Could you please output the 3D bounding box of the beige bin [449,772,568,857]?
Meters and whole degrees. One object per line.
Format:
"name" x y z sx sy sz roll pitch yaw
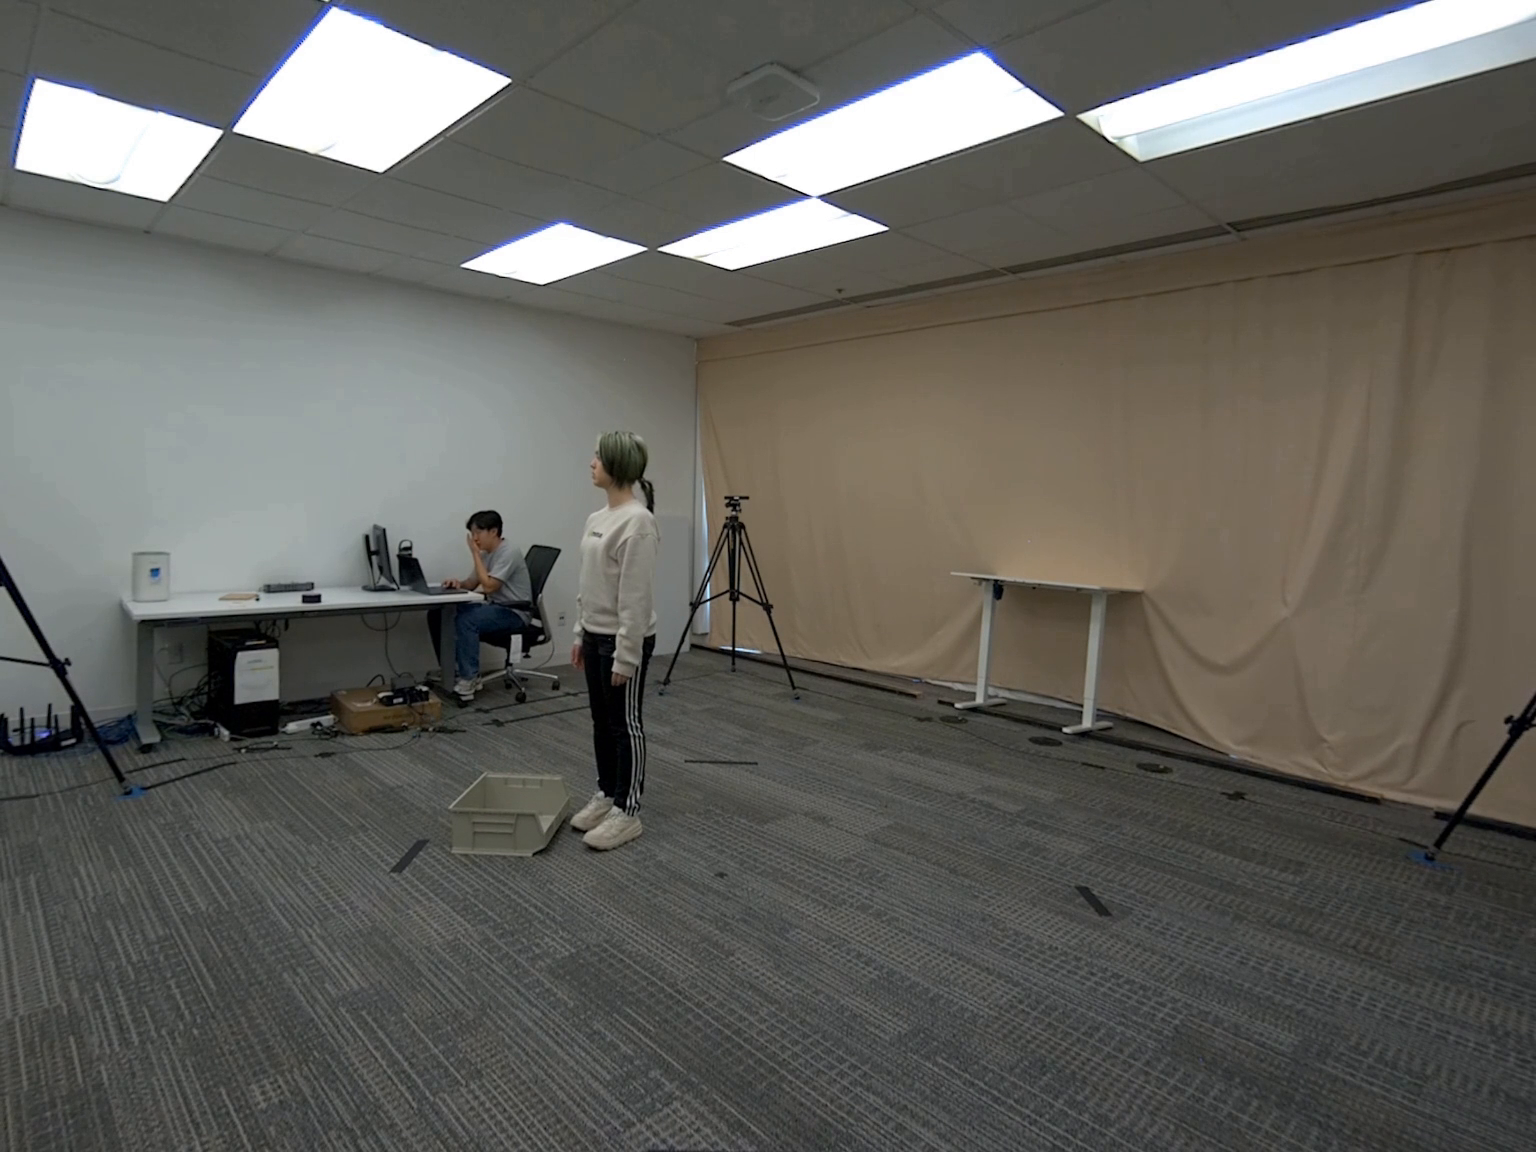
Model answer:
"beige bin" -1.040 0.962 3.428 0.377 0.188 0.423 1 5 0
